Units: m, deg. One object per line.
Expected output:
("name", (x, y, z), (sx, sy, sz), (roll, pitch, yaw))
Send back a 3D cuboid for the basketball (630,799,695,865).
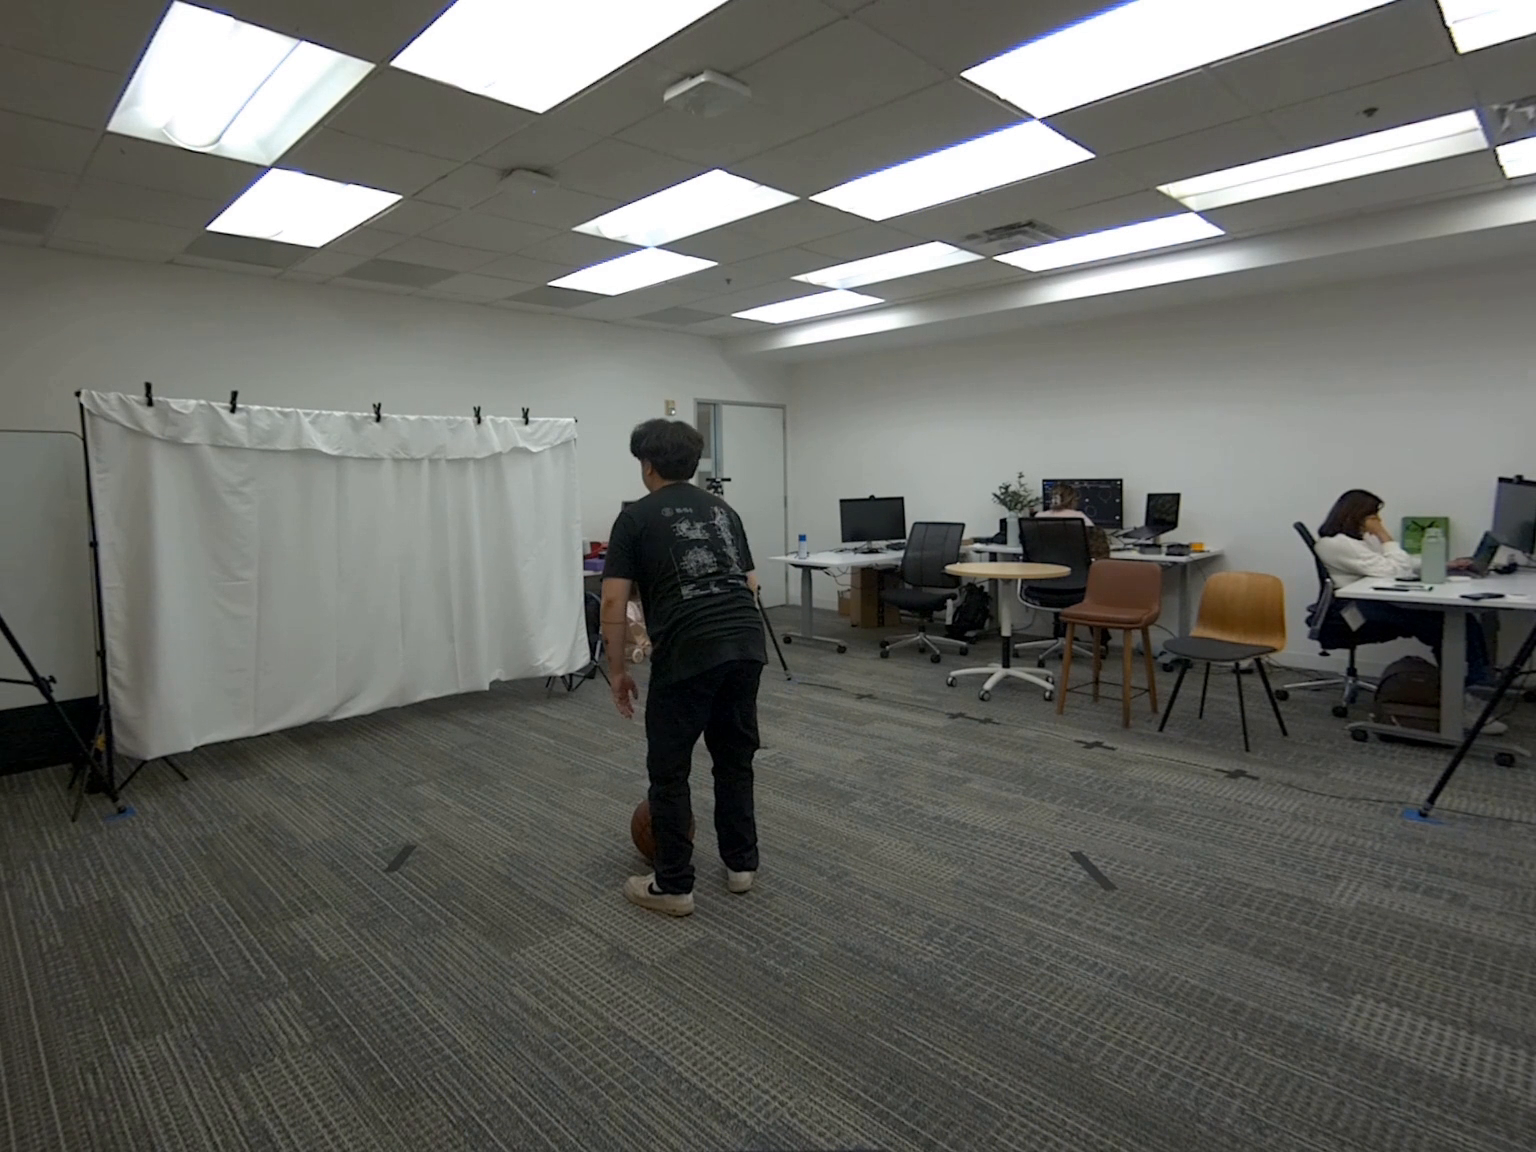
("basketball", (-0.381, 0.921, 3.152), (0.236, 0.235, 0.237), (-1, 5, -2))
